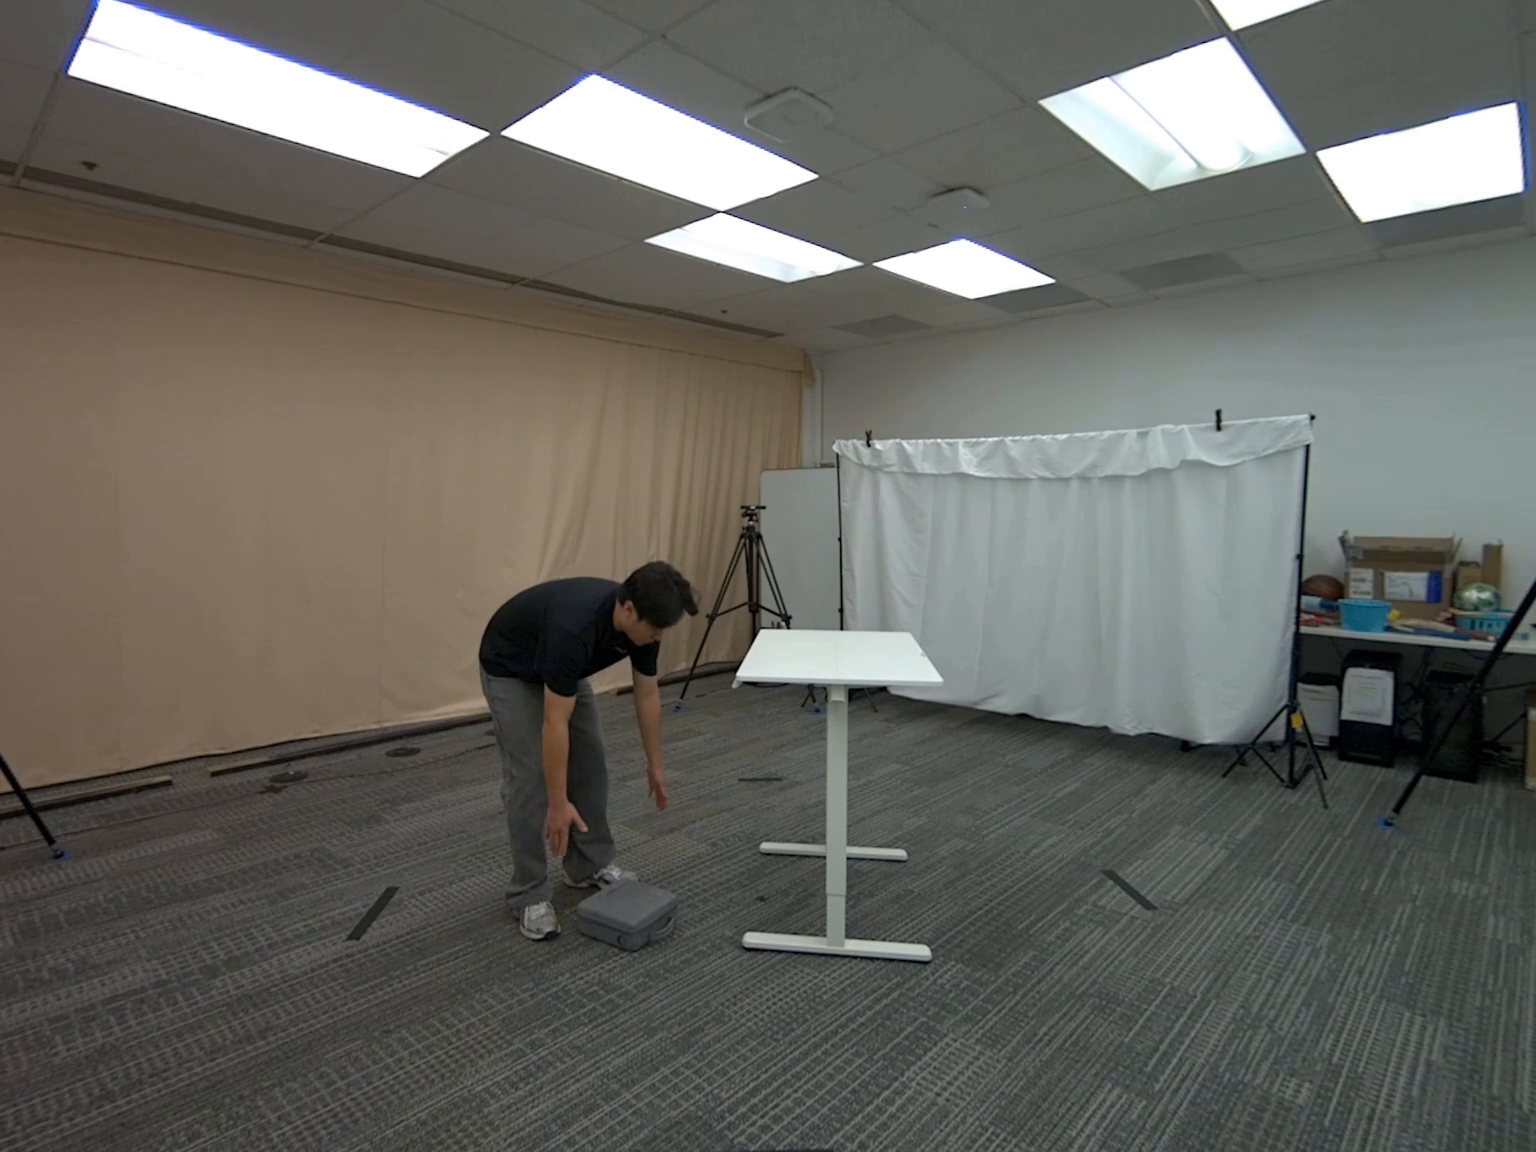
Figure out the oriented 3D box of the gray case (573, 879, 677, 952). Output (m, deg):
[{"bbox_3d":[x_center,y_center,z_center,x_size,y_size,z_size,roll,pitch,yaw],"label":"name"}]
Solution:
[{"bbox_3d":[-0.451,1.111,2.771,0.296,0.103,0.256,4,8,32],"label":"gray case"}]
